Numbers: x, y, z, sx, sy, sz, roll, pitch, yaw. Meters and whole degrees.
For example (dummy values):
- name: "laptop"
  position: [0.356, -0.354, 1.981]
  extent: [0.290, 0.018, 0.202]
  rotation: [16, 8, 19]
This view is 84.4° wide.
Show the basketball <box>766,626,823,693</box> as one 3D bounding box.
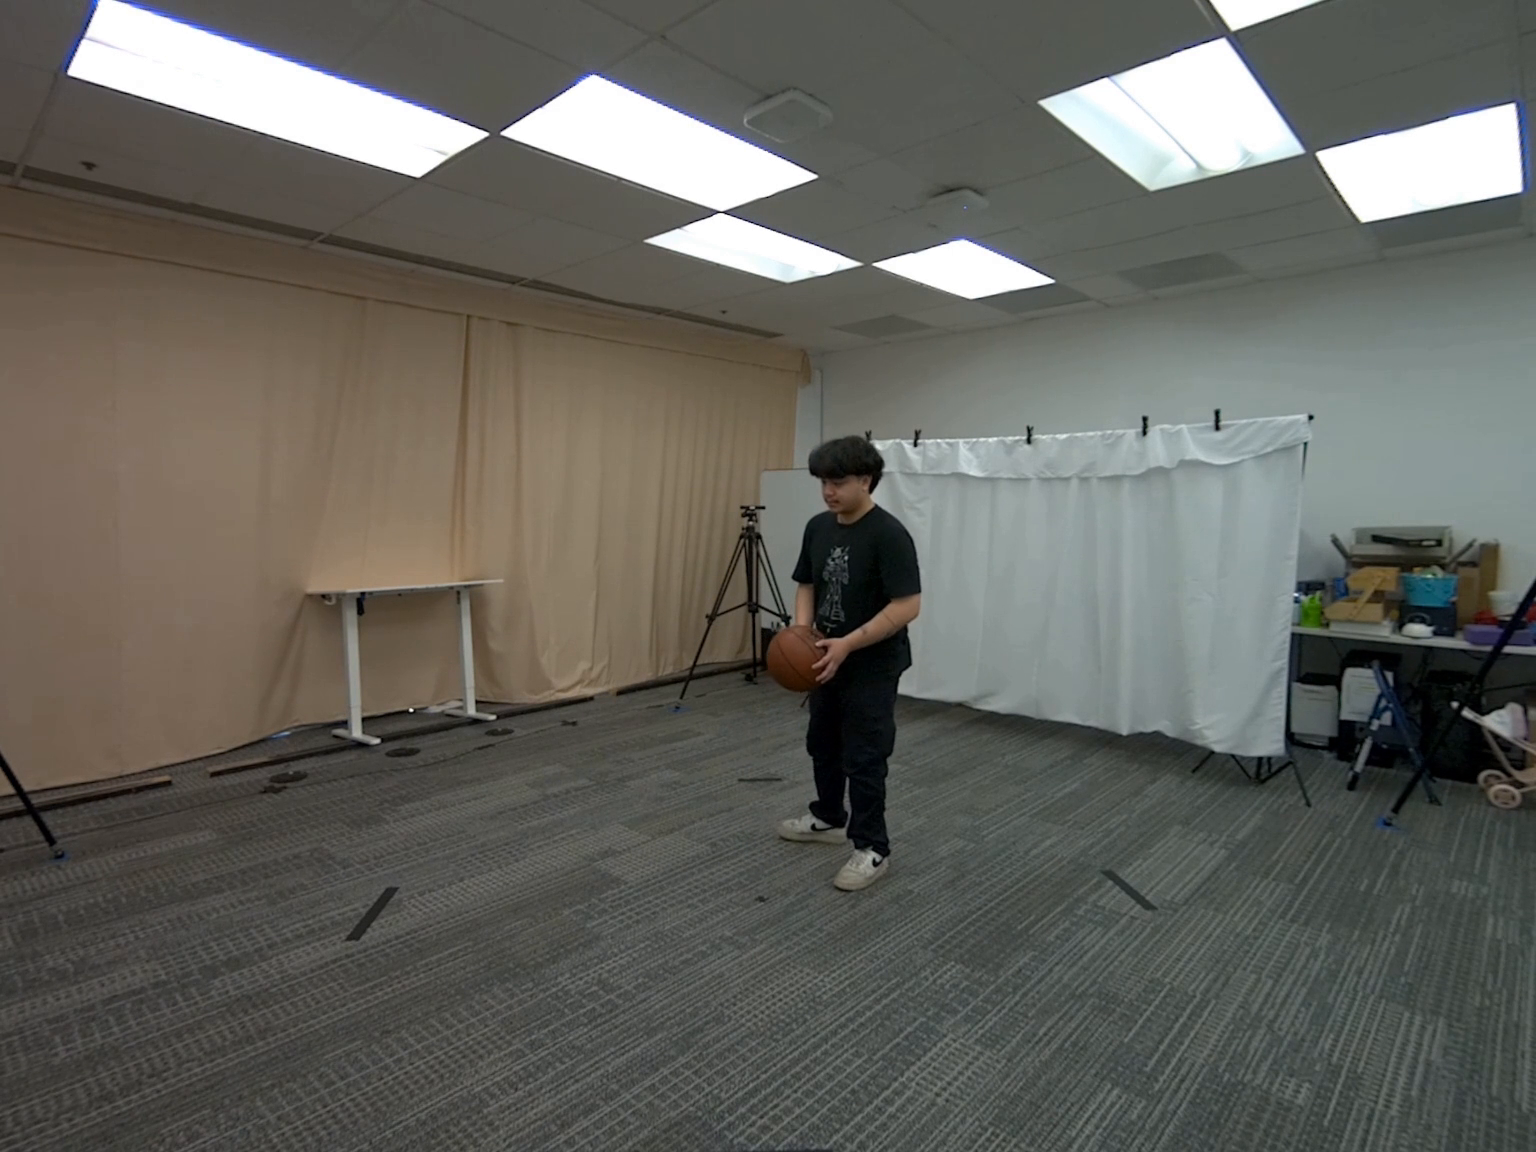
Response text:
- name: "basketball"
  position: [0.112, 0.296, 3.028]
  extent: [0.236, 0.235, 0.237]
  rotation: [0, 4, -2]
